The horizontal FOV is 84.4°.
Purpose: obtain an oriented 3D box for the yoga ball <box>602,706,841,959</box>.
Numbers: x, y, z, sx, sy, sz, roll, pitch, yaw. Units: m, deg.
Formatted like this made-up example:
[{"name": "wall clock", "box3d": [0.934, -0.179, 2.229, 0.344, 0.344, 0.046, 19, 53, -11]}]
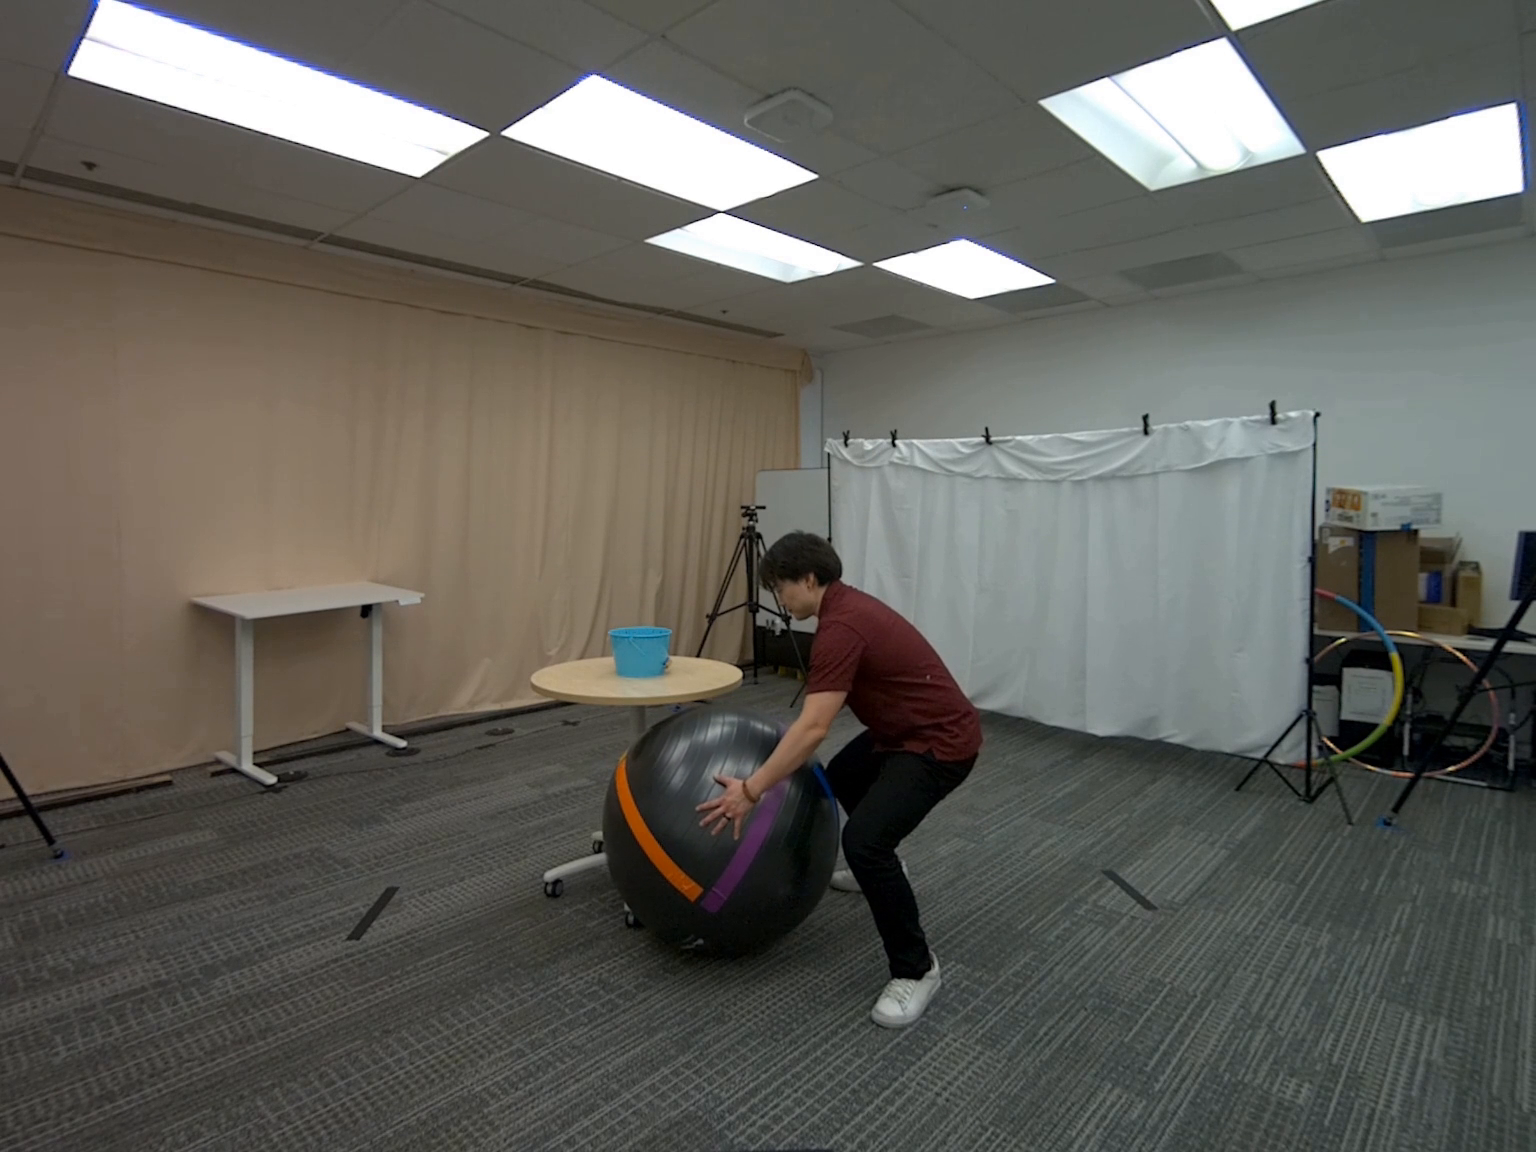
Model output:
[{"name": "yoga ball", "box3d": [-0.141, 0.811, 2.694, 0.757, 0.756, 0.761, 0, 4, -2]}]
